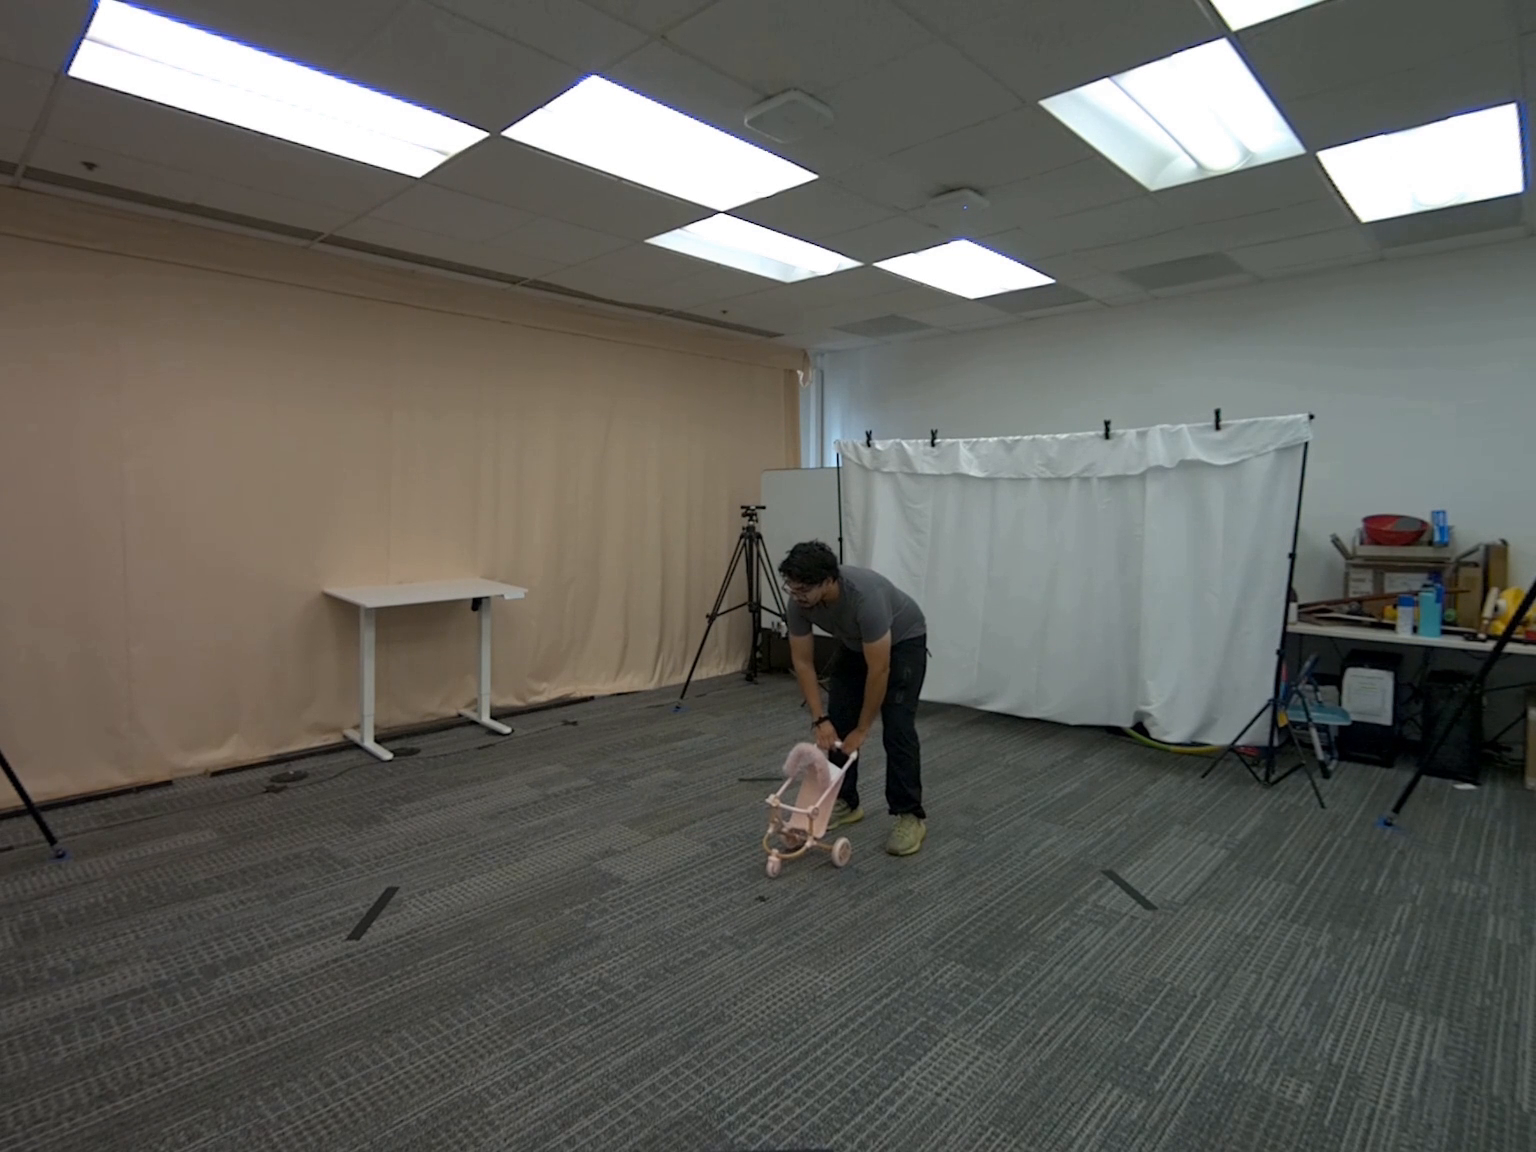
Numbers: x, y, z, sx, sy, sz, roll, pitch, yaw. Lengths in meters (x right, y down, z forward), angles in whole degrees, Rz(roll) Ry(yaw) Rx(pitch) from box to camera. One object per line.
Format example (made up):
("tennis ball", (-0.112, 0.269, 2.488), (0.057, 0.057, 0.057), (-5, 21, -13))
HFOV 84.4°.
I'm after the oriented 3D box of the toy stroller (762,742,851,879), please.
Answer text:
("toy stroller", (0.146, 0.893, 3.280), (0.329, 0.537, 0.291), (19, -11, -42))
